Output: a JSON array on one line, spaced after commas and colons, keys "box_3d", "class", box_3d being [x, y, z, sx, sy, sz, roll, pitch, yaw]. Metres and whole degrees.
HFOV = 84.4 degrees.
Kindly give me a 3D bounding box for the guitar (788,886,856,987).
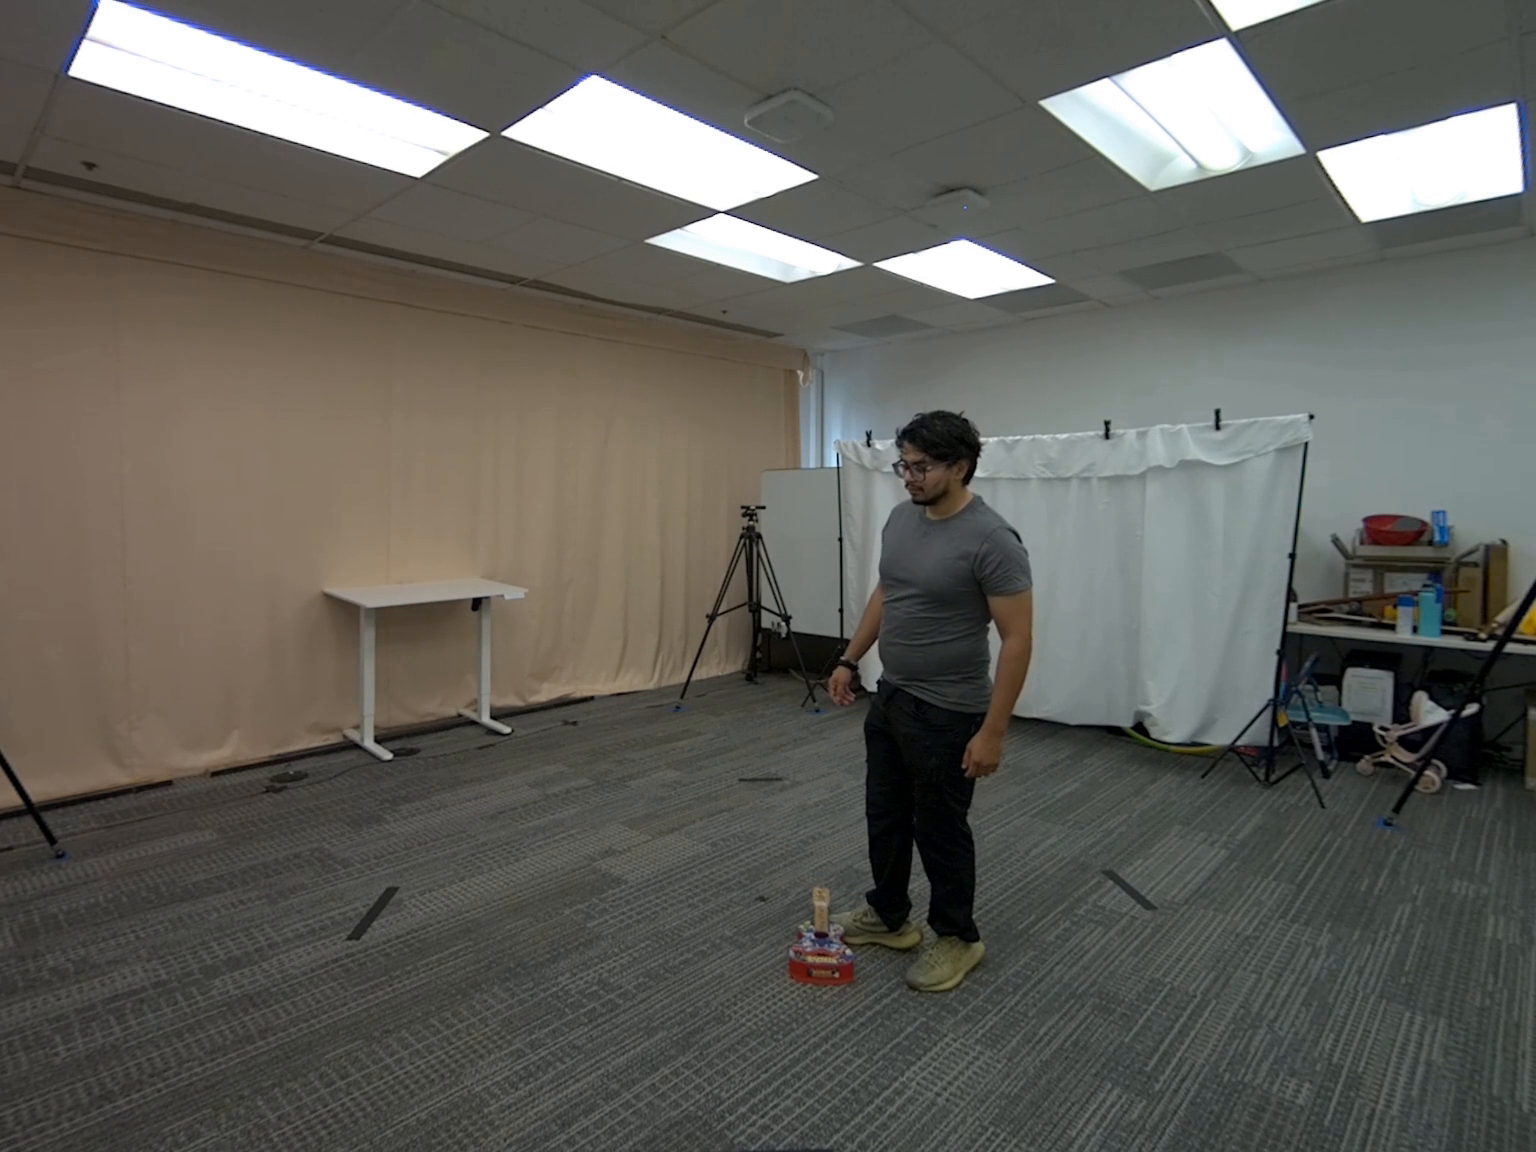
[{"box_3d": [0.204, 1.136, 2.687, 0.196, 0.070, 0.492, -1, 5, 12], "class": "guitar"}]
